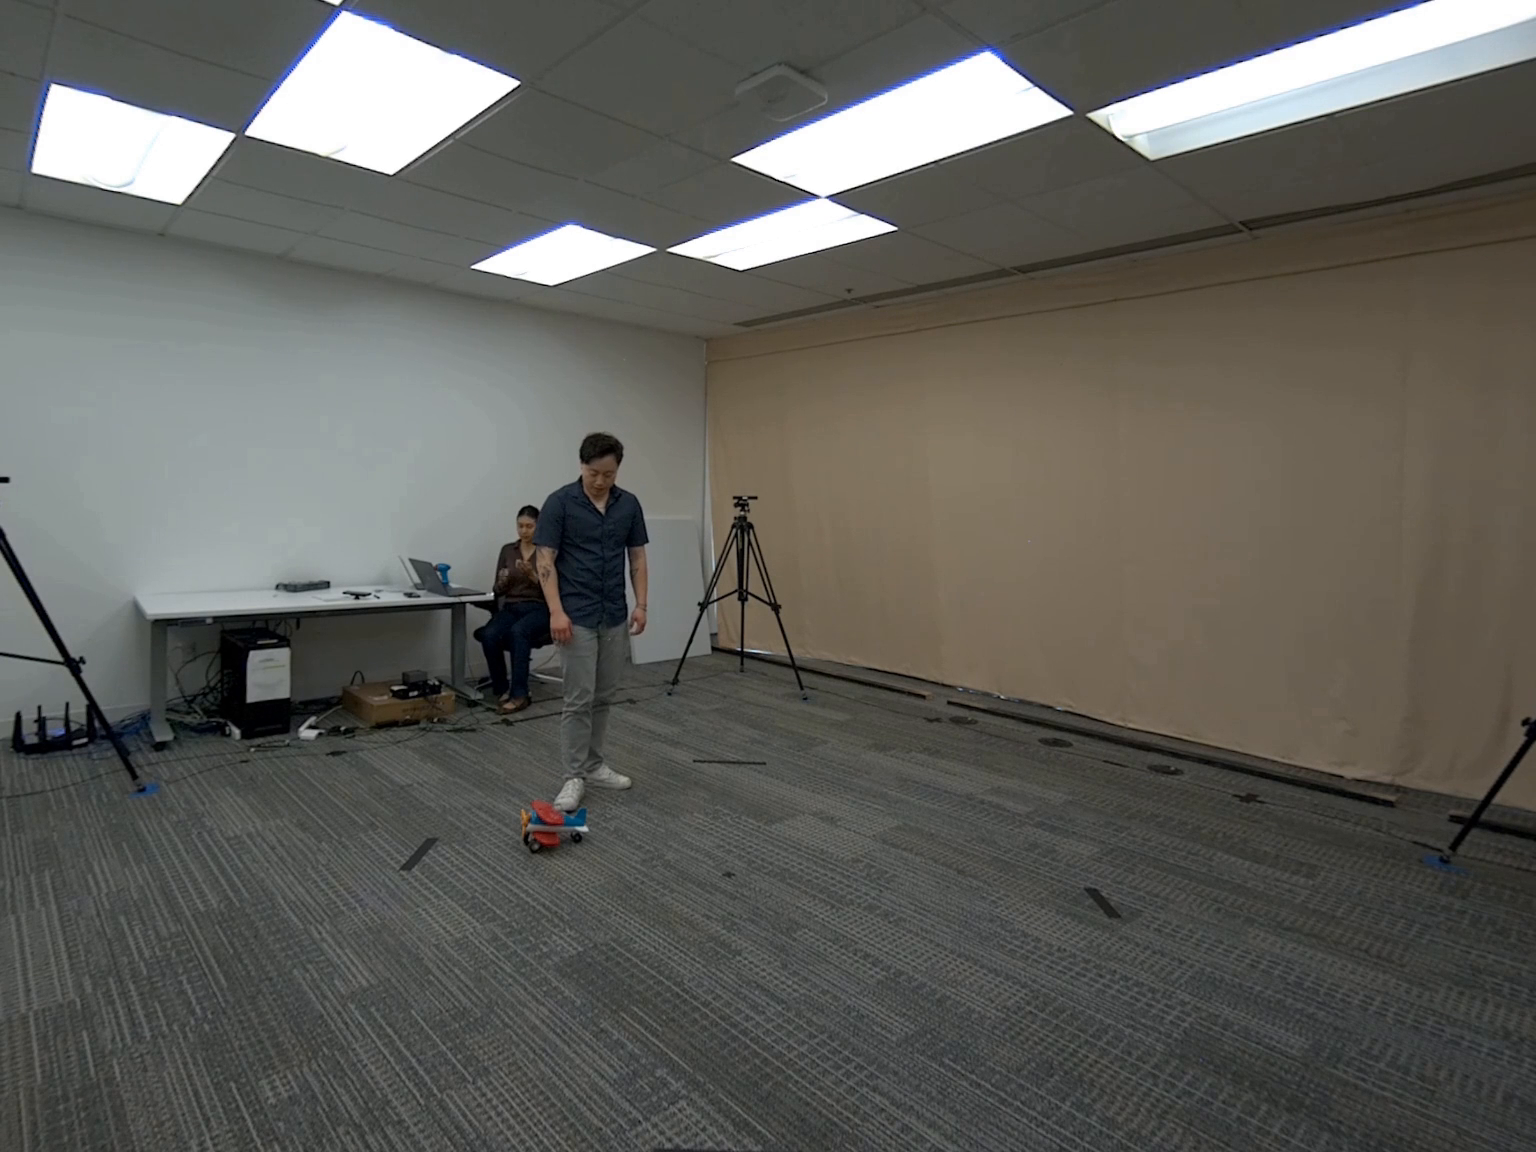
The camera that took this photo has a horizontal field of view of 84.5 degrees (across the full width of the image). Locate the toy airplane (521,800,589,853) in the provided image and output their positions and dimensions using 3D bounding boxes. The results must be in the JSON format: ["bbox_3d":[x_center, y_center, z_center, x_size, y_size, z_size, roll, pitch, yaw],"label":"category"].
[{"bbox_3d":[-0.867,0.991,3.346,0.257,0.156,0.254,4,6,32],"label":"toy airplane"}]
